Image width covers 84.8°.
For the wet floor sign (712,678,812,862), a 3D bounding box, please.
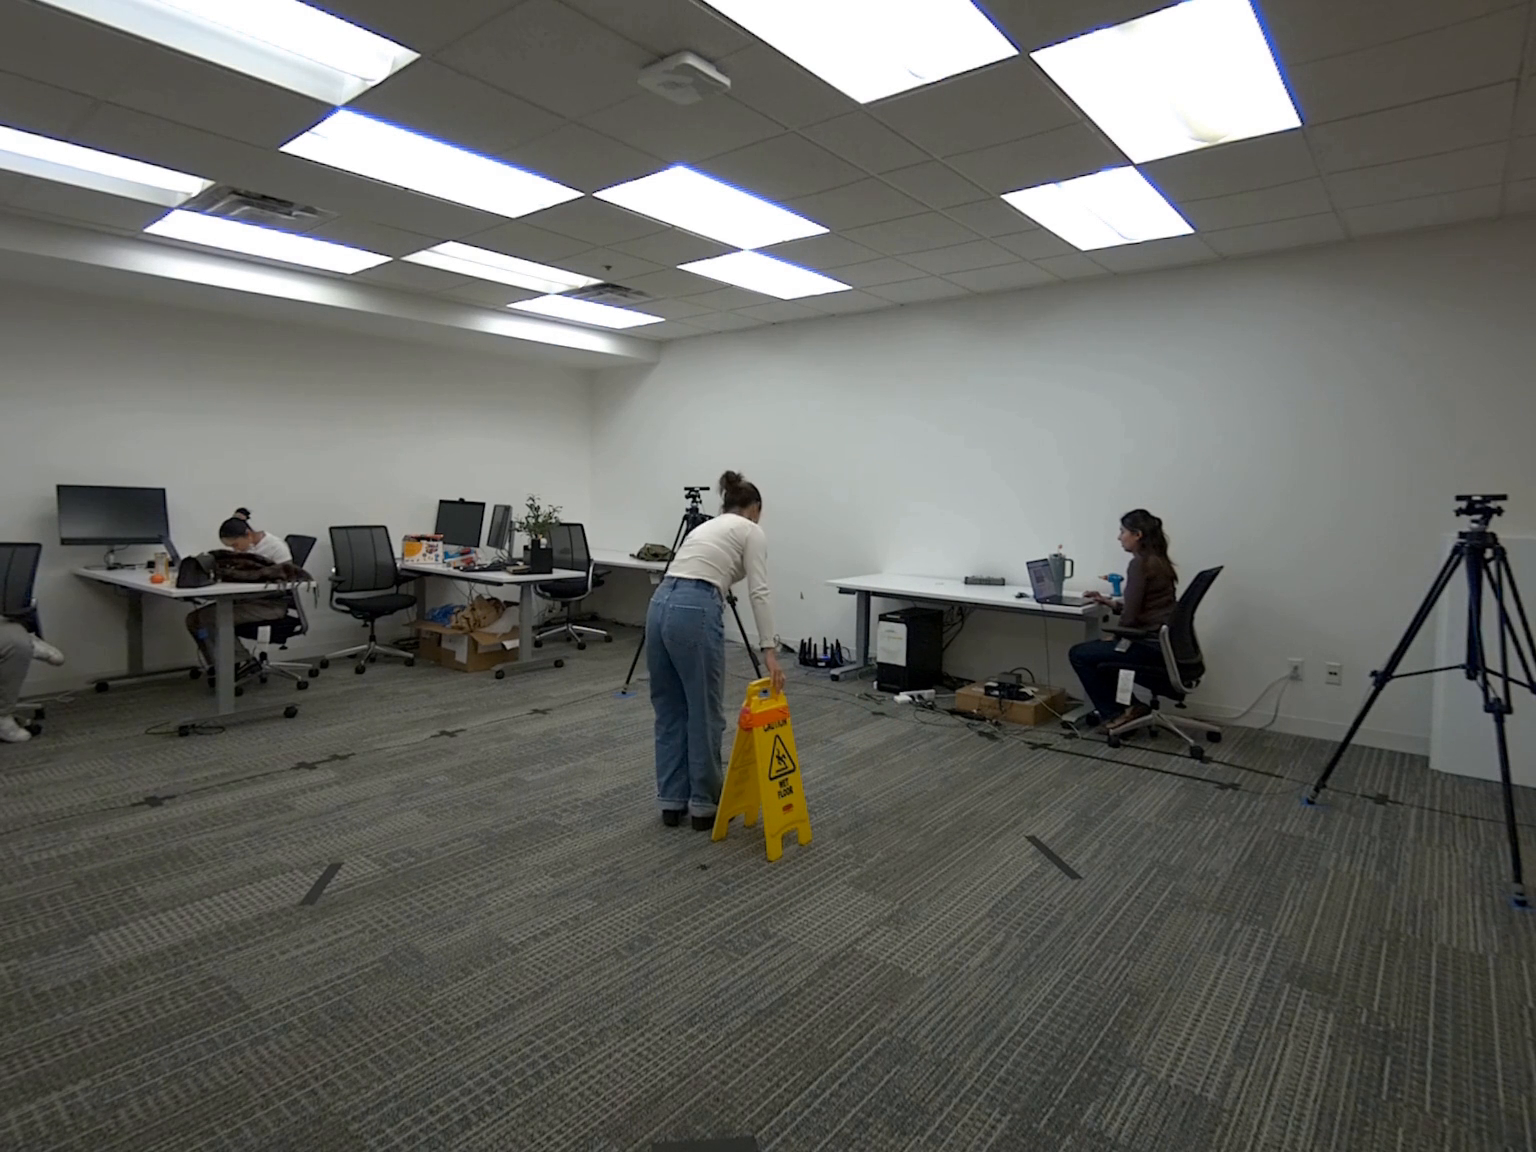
[{"bbox_3d":[-0.022,0.720,3.347,0.299,0.644,0.274,4,5,39],"label":"wet floor sign"}]
